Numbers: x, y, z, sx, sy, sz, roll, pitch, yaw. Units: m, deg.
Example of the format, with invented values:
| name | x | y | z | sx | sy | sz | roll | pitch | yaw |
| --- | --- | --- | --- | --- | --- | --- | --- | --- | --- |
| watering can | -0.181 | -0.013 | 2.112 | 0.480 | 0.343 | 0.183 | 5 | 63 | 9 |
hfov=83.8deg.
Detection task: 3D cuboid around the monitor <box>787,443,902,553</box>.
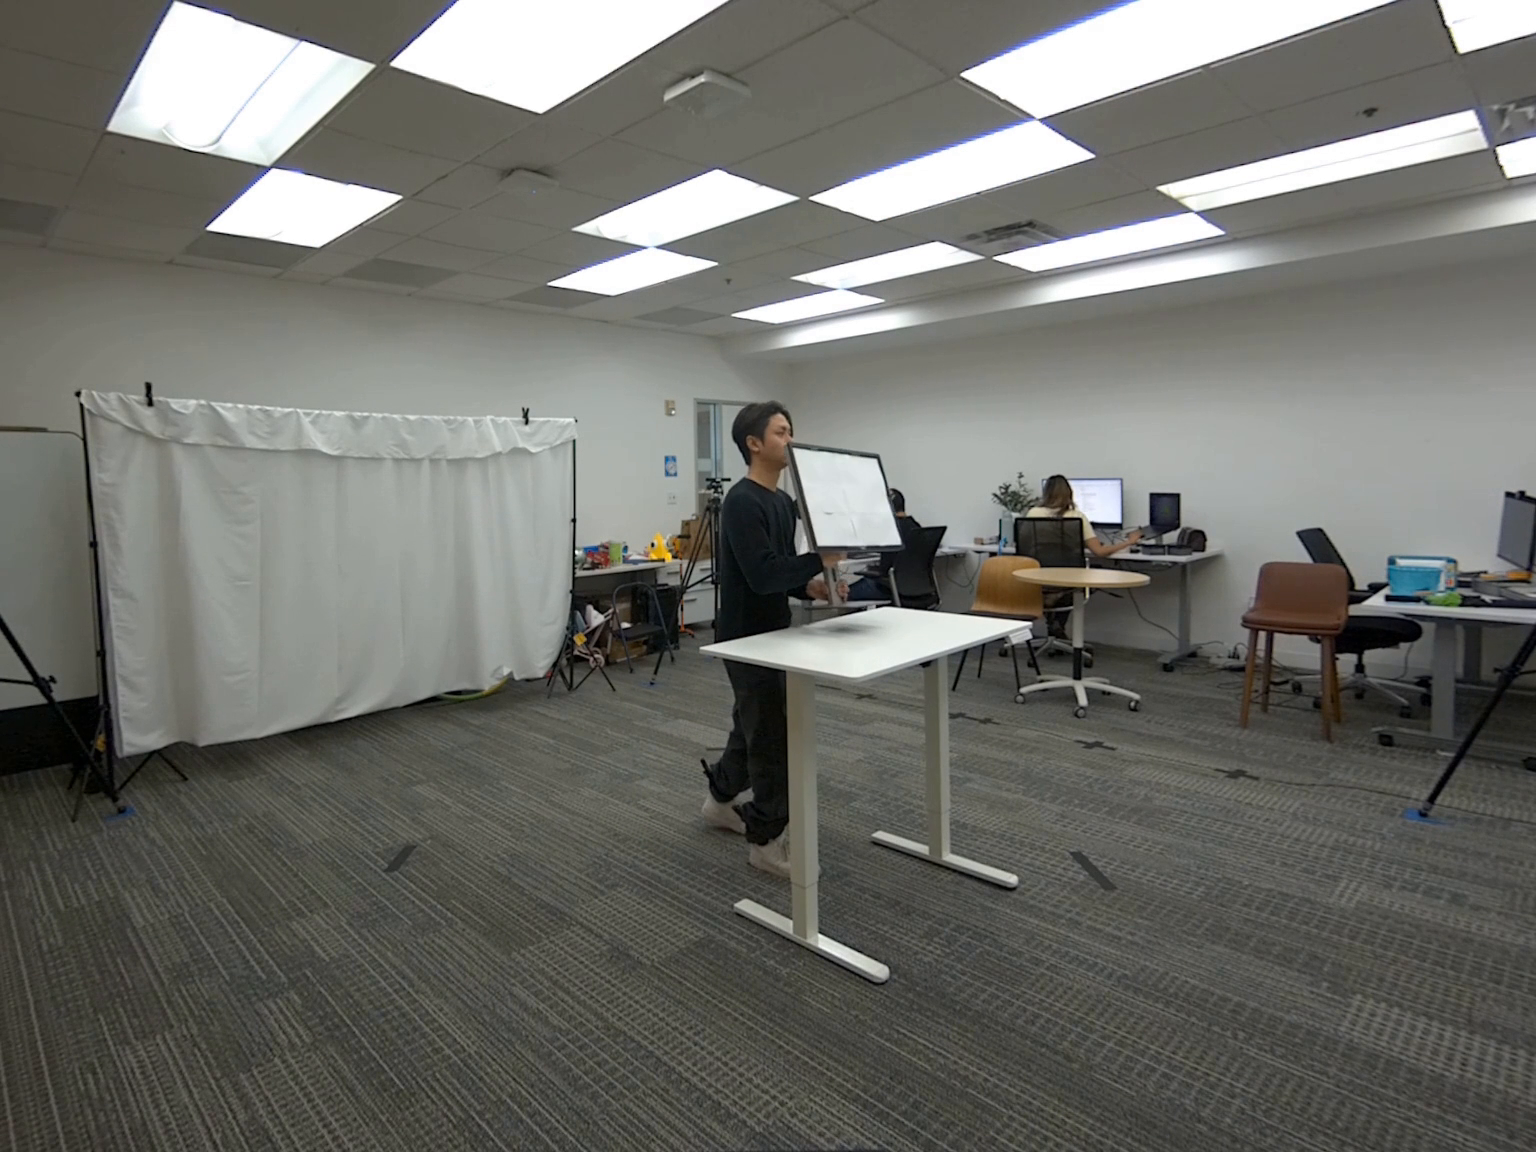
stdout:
| name | x | y | z | sx | sy | sz | roll | pitch | yaw |
| --- | --- | --- | --- | --- | --- | --- | --- | --- | --- |
| monitor | 0.248 | -0.166 | 2.901 | 0.180 | 0.516 | 0.514 | 2 | 1 | 39 |
